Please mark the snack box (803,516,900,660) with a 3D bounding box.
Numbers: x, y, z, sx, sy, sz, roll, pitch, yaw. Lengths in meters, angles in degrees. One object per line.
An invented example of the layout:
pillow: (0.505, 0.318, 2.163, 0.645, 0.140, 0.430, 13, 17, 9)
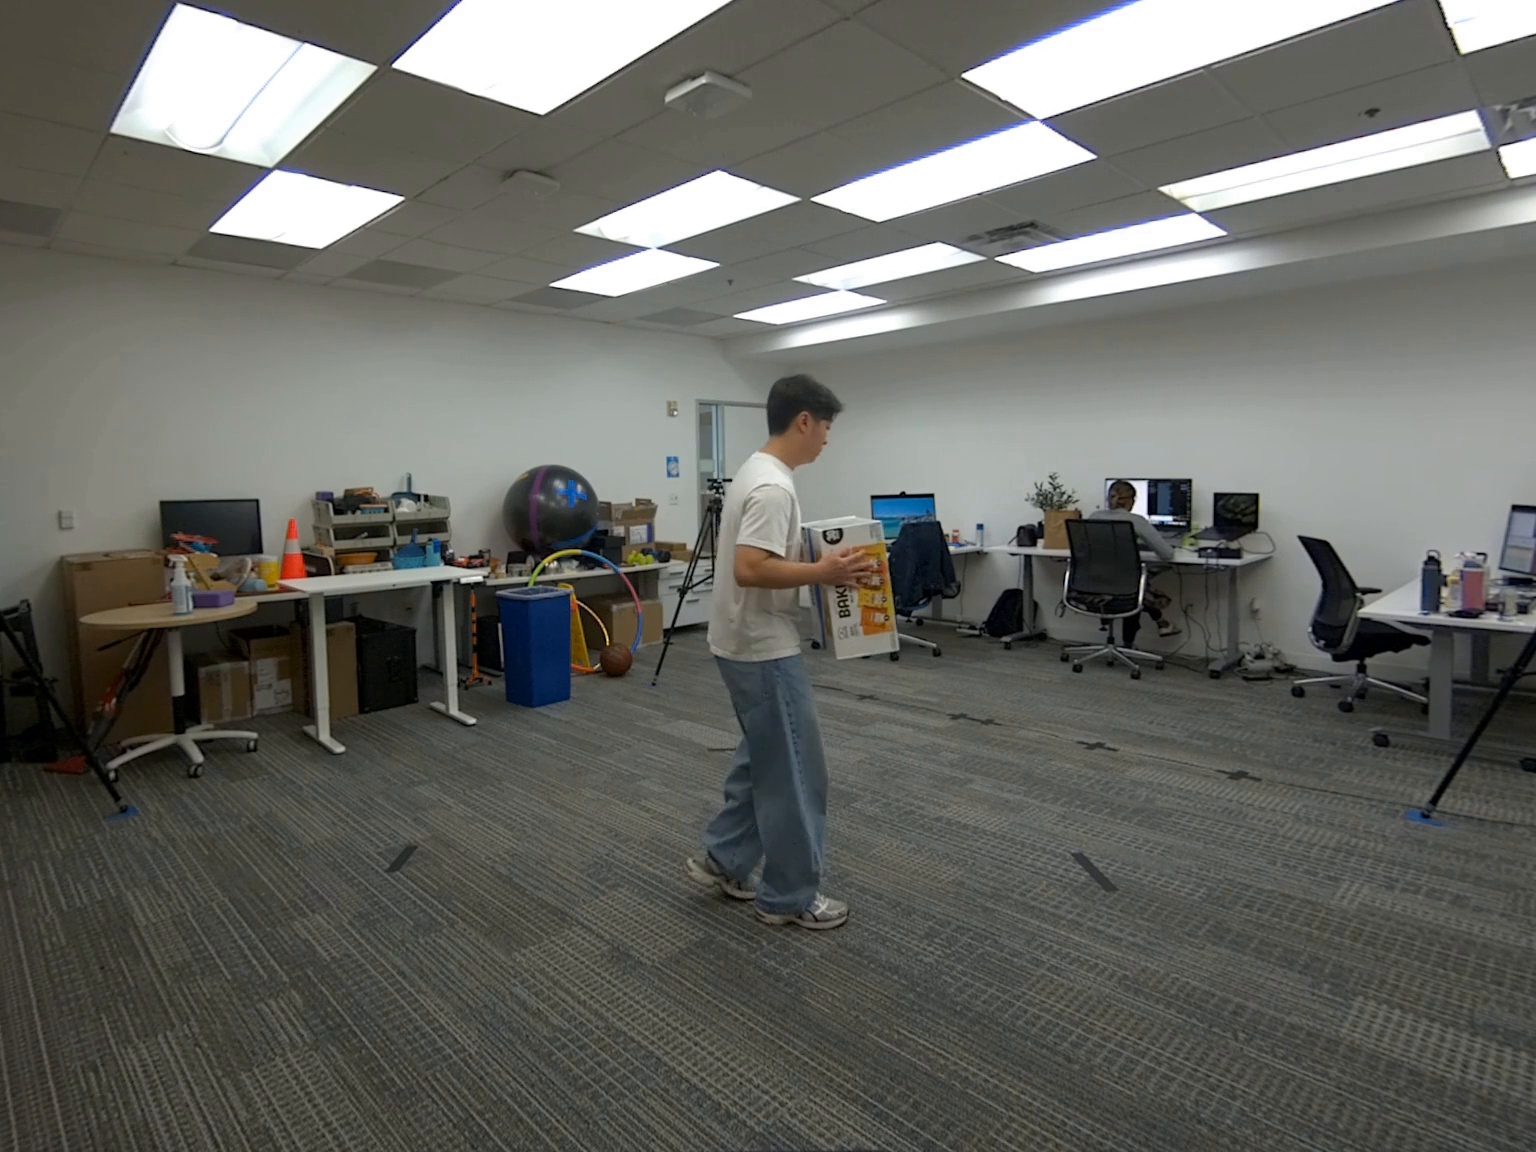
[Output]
snack box: (0.255, 0.024, 2.781, 0.205, 0.403, 0.344, -9, 5, -6)
